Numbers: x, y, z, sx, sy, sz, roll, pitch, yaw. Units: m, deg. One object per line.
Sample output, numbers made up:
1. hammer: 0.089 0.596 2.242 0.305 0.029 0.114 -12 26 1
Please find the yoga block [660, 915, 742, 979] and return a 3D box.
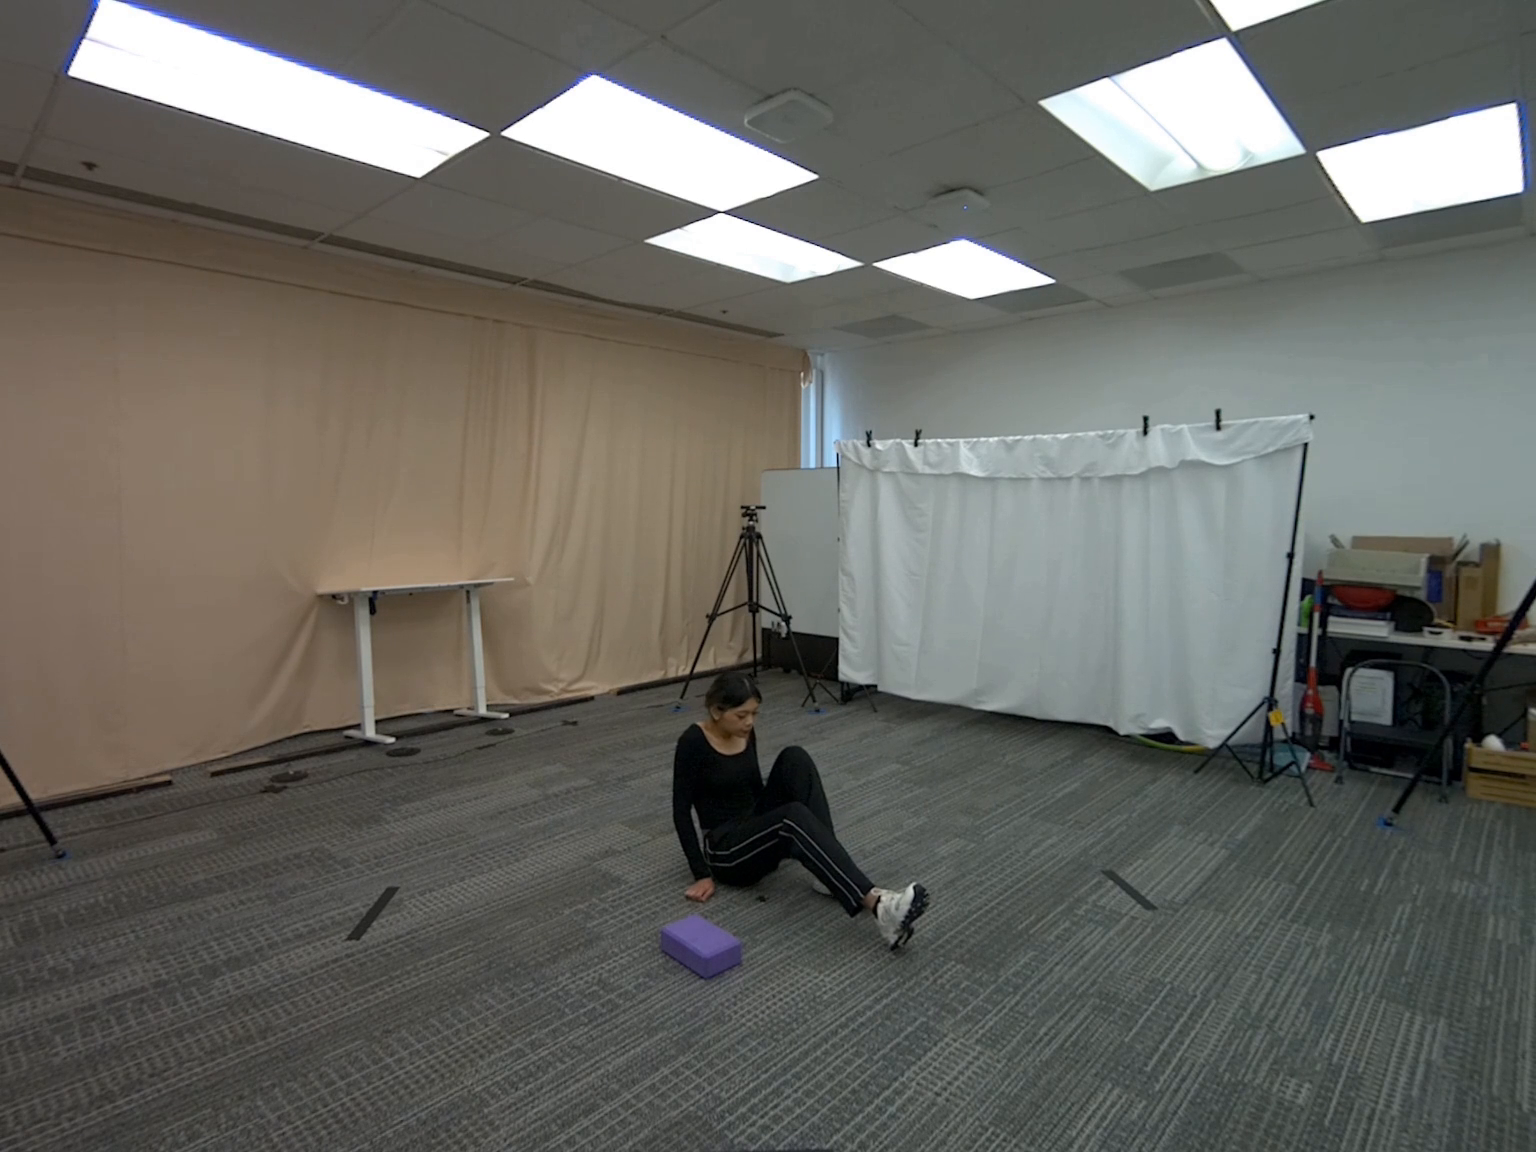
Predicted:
1. yoga block: -0.206 1.128 2.598 0.144 0.076 0.237 -5 8 -42
